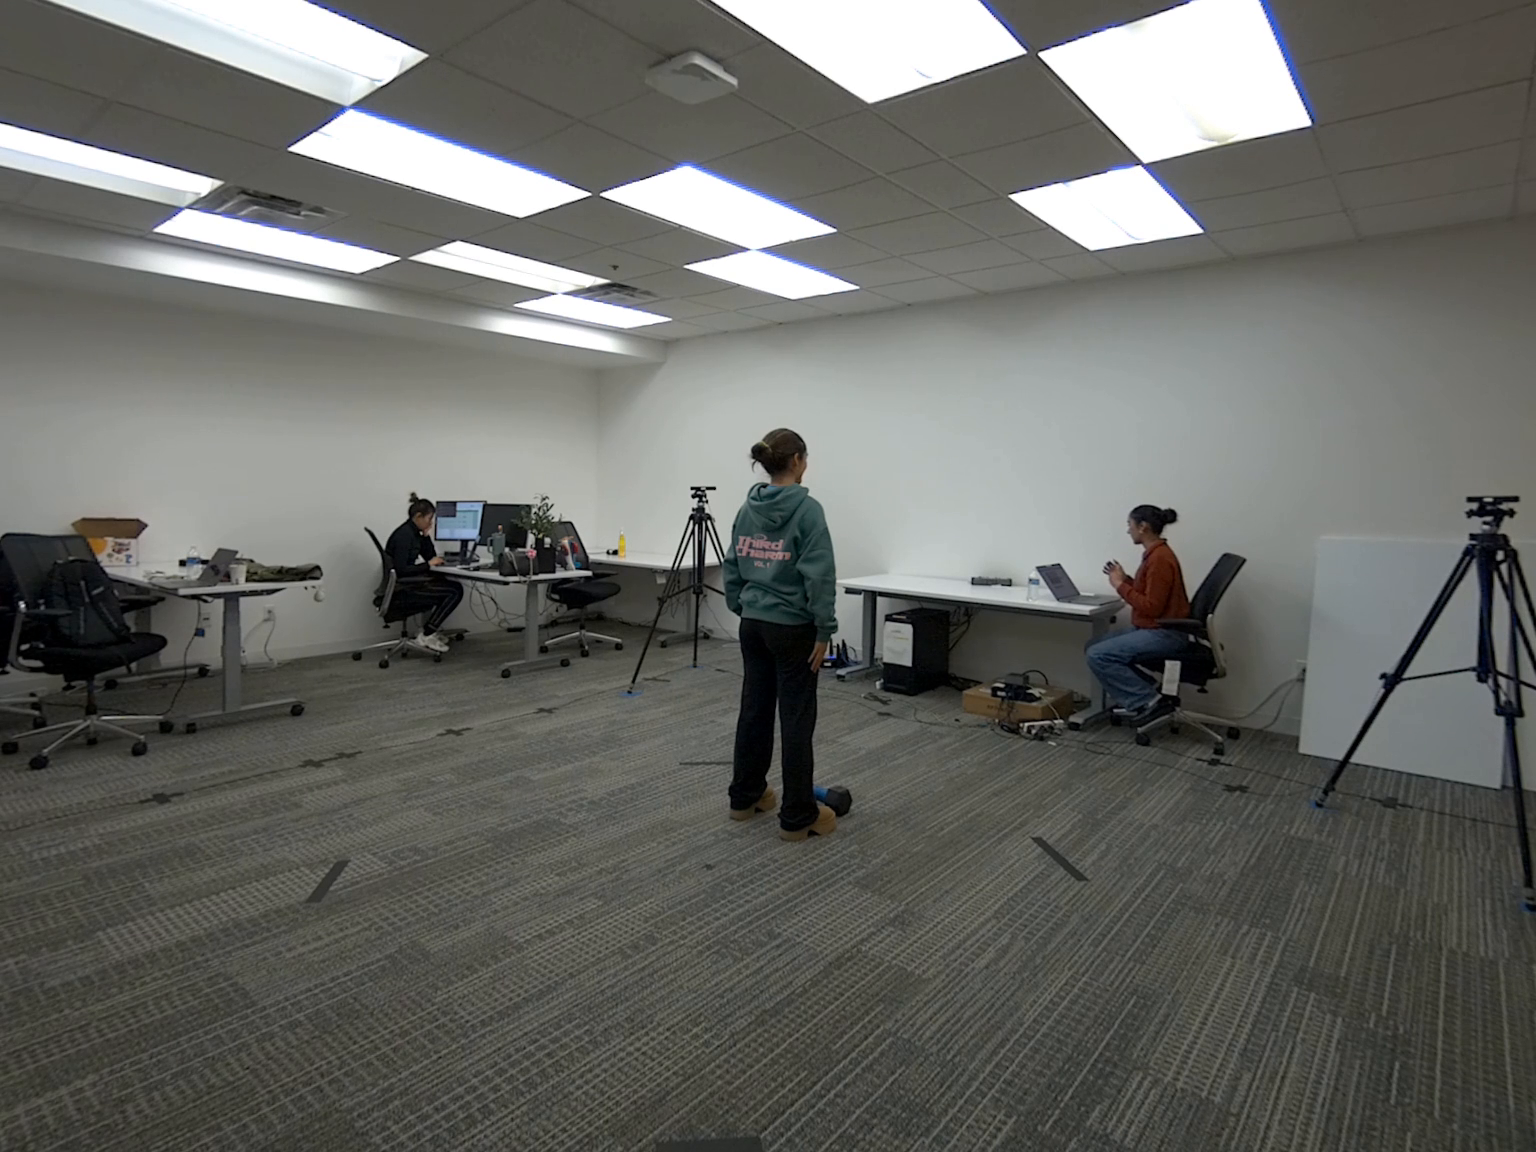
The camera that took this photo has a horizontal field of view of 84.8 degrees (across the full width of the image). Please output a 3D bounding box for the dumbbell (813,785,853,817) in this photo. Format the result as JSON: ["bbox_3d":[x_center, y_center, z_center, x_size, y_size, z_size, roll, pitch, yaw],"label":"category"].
[{"bbox_3d":[0.215,0.958,3.741,0.304,0.124,0.104,6,-25,43],"label":"dumbbell"}]
